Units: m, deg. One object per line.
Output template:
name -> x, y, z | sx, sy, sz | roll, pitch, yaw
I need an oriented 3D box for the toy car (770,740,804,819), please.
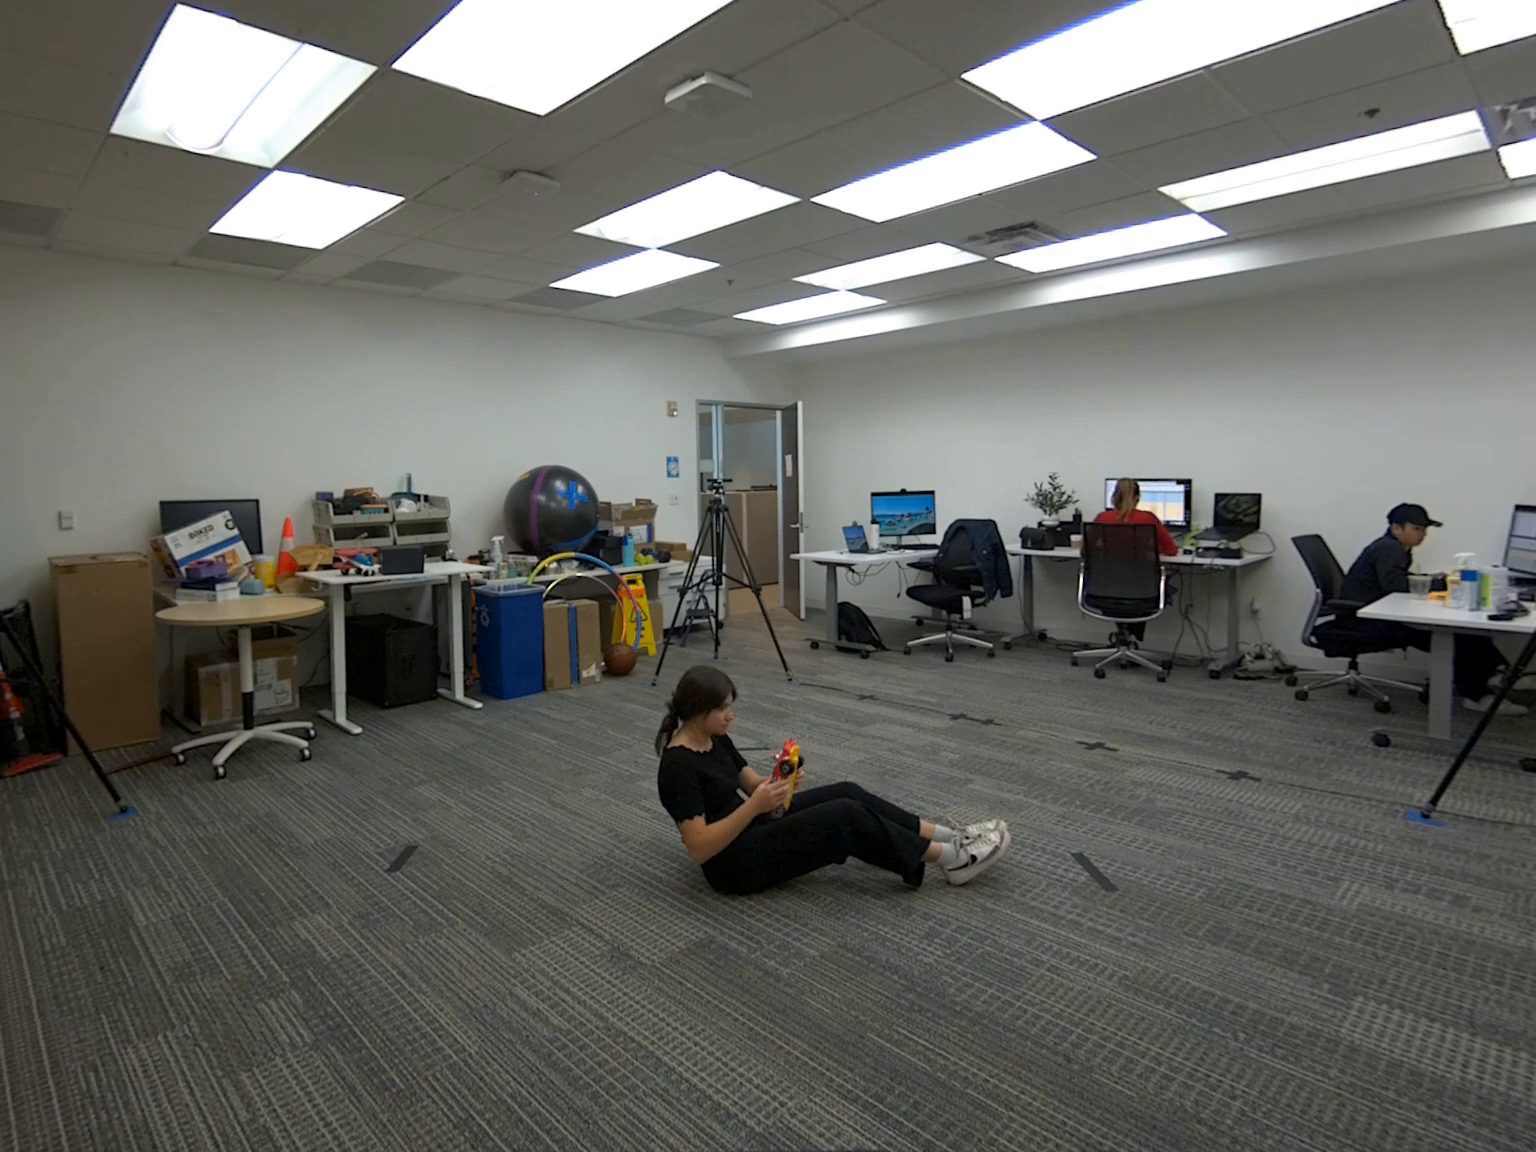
toy car -> 0.053, 0.674, 2.818 | 0.085, 0.254, 0.128 | 1, 1, 21
